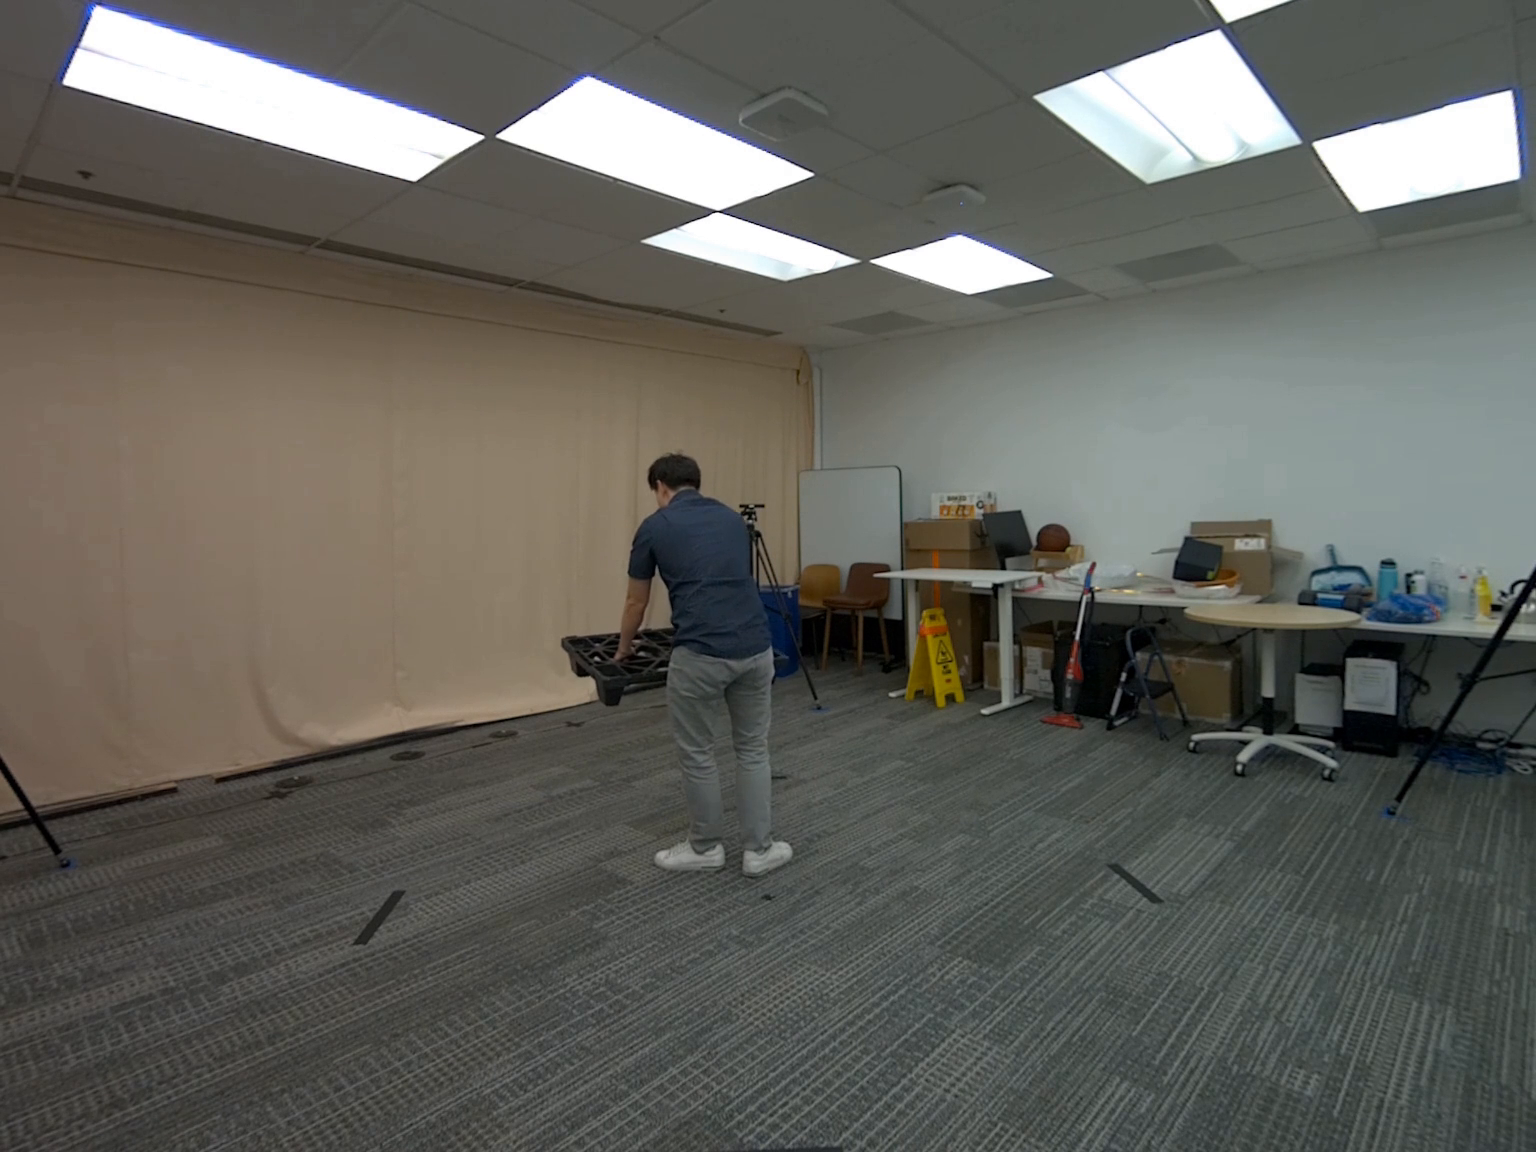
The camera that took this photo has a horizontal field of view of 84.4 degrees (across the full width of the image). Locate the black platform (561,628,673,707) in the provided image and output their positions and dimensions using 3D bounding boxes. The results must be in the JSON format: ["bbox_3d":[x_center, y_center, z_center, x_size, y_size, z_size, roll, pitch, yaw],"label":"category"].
[{"bbox_3d":[-0.401,0.366,3.545,0.786,0.142,0.624,-4,14,-27],"label":"black platform"}]
